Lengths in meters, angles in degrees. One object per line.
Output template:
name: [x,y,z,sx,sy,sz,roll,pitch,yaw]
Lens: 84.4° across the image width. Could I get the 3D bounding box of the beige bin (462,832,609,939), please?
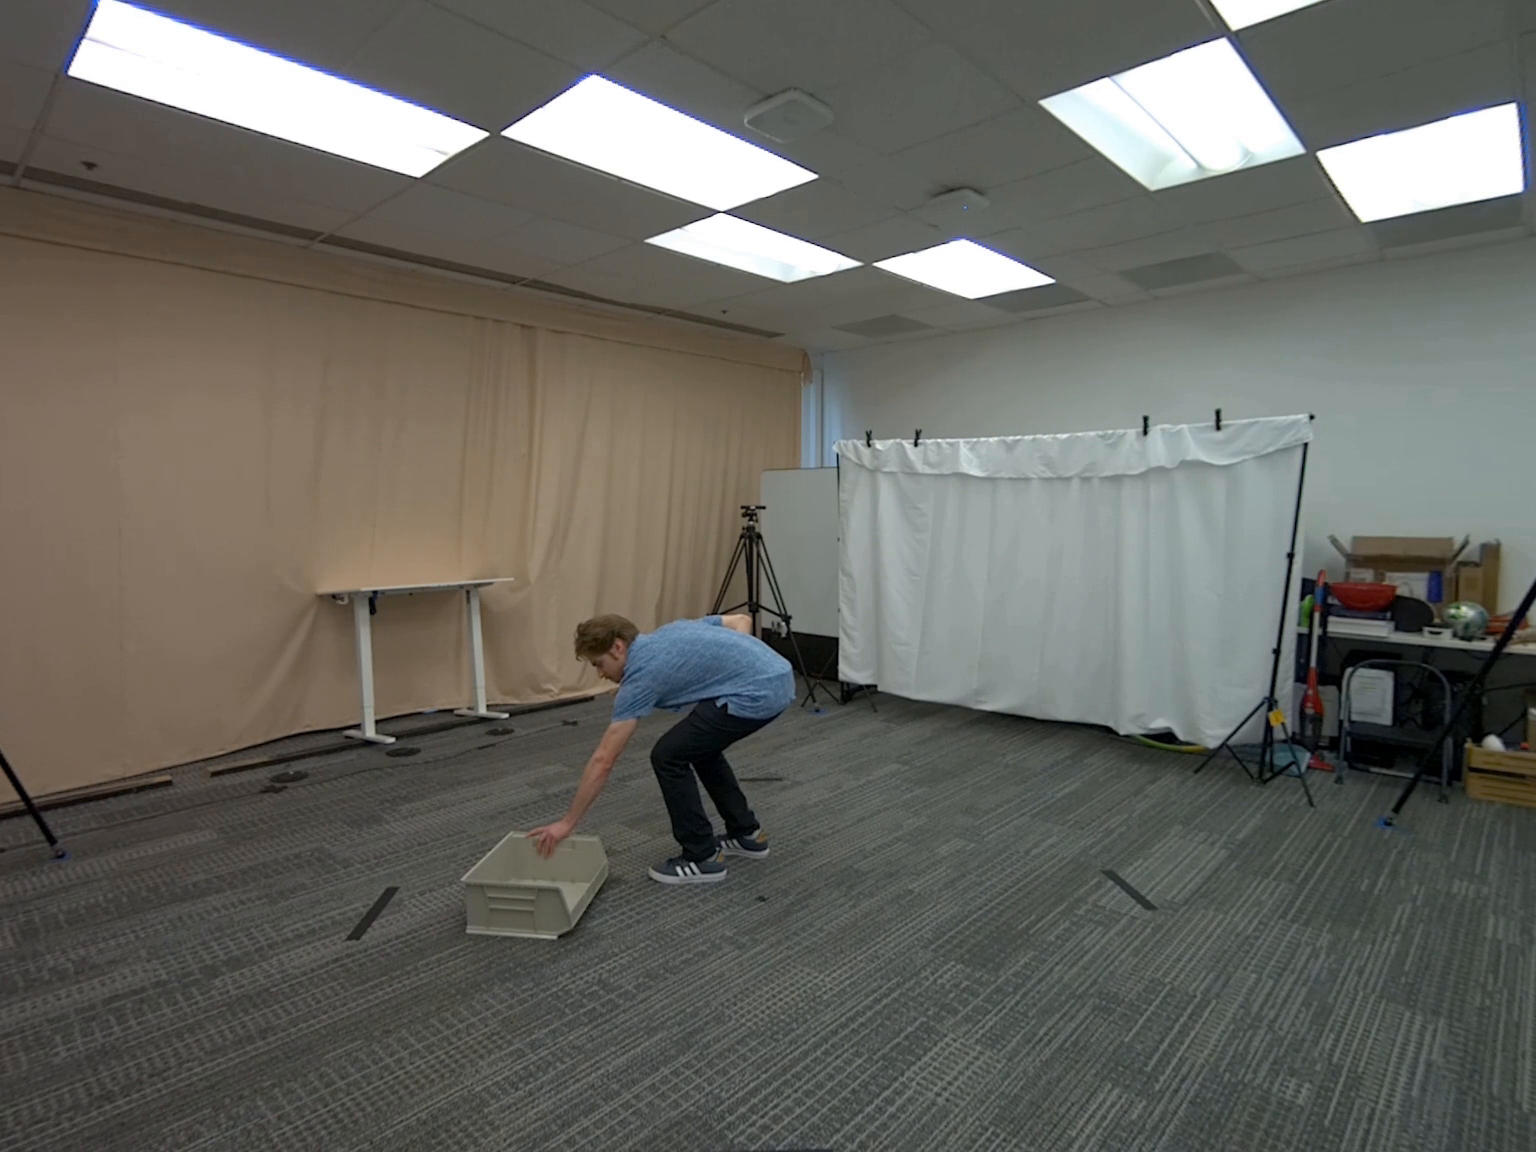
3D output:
beige bin: [-0.799,1.066,2.929,0.381,0.188,0.420,0,5,7]
